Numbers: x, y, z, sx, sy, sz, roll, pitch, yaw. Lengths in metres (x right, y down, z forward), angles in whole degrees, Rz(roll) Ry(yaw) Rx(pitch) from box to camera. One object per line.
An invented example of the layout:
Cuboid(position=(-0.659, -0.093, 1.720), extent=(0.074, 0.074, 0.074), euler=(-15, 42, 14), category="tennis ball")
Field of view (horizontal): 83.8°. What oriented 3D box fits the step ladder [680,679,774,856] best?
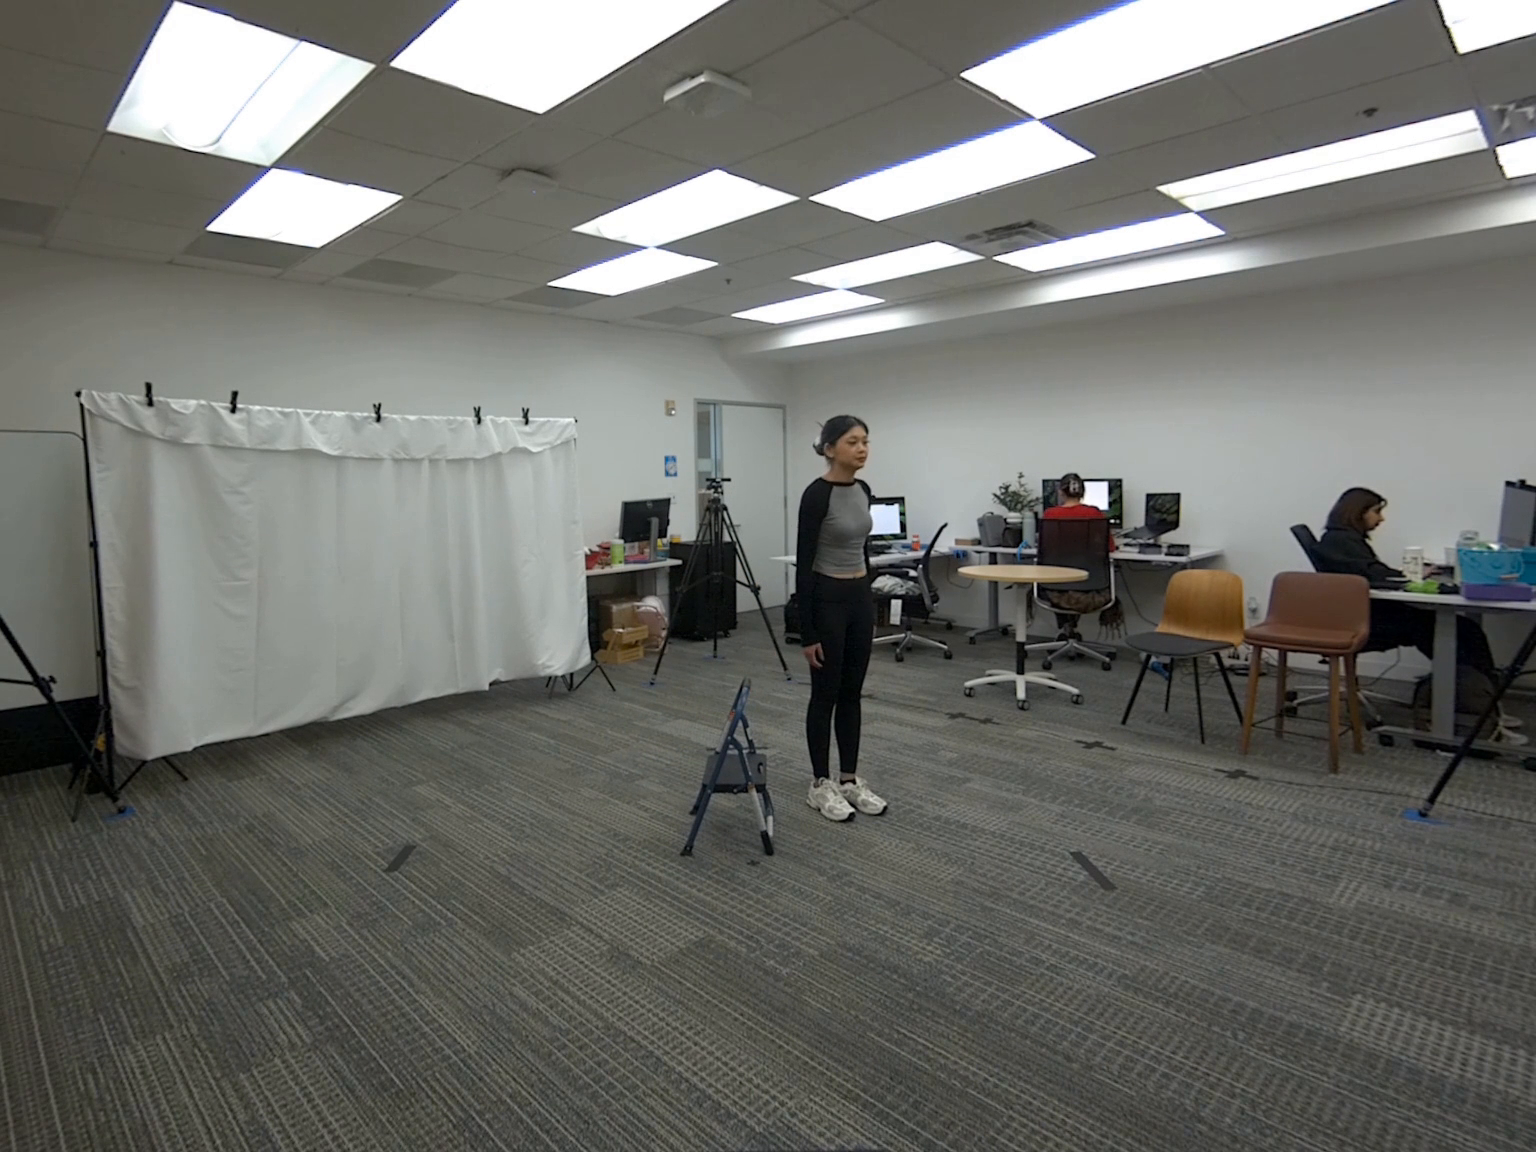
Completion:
Cuboid(position=(-0.151, 0.714, 3.352), extent=(0.350, 0.604, 0.432), euler=(-1, 5, 1), category="step ladder")
